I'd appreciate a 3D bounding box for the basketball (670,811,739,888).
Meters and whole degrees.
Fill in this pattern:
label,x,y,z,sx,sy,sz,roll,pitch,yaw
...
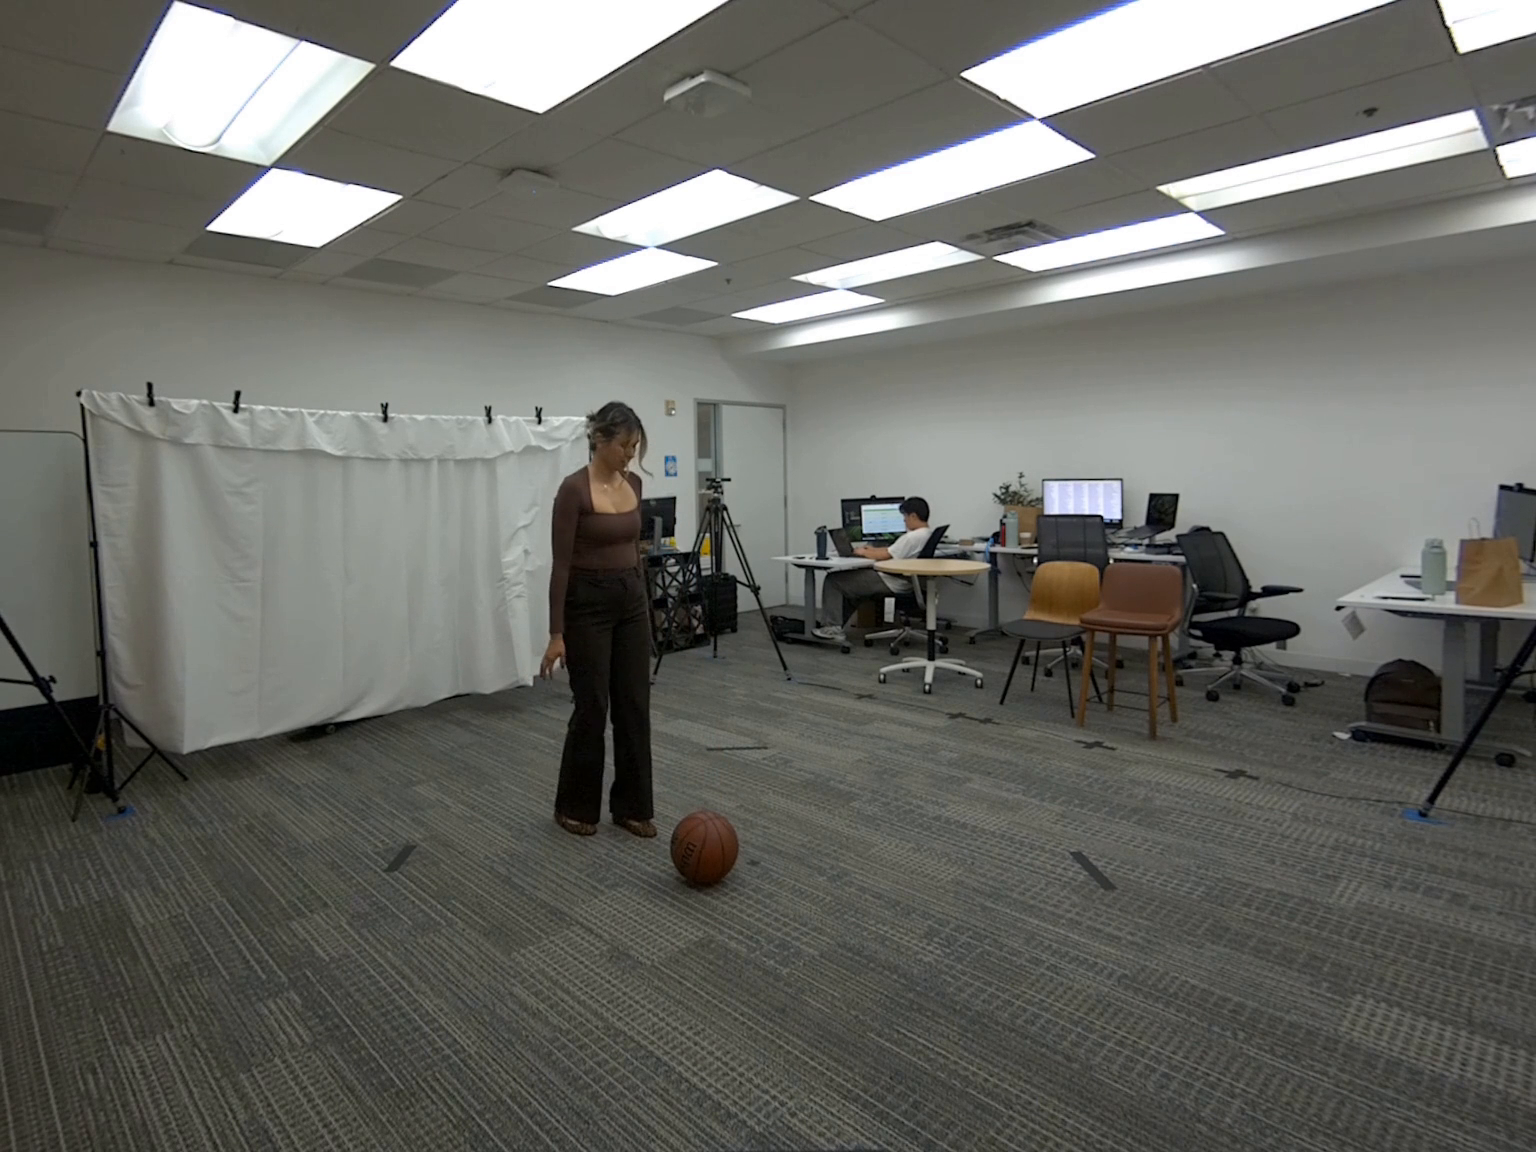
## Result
label,x,y,z,sx,sy,sz,roll,pitch,yaw
basketball,-0.217,0.939,2.966,0.236,0.235,0.237,-1,5,-2
